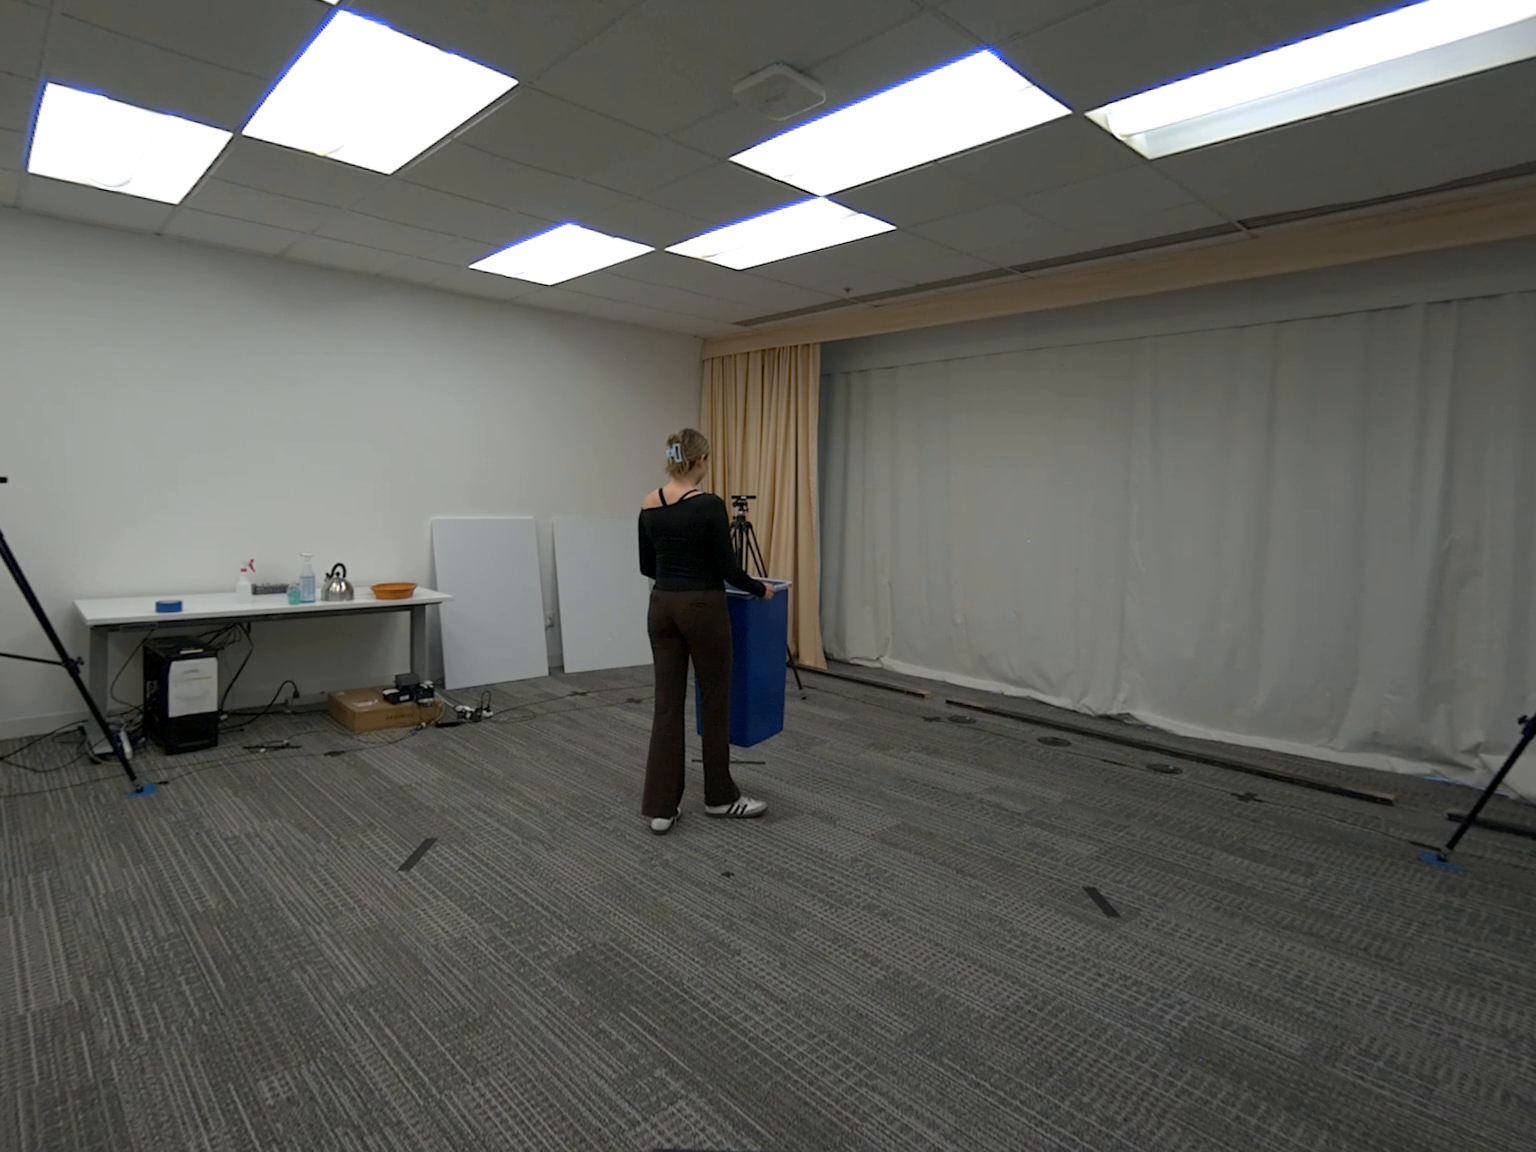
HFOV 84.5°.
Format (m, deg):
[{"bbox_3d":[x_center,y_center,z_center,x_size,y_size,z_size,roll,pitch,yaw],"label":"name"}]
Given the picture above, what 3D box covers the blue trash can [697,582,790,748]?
[{"bbox_3d":[-0.137,0.389,3.930,0.383,0.709,0.371,7,9,35],"label":"blue trash can"}]
